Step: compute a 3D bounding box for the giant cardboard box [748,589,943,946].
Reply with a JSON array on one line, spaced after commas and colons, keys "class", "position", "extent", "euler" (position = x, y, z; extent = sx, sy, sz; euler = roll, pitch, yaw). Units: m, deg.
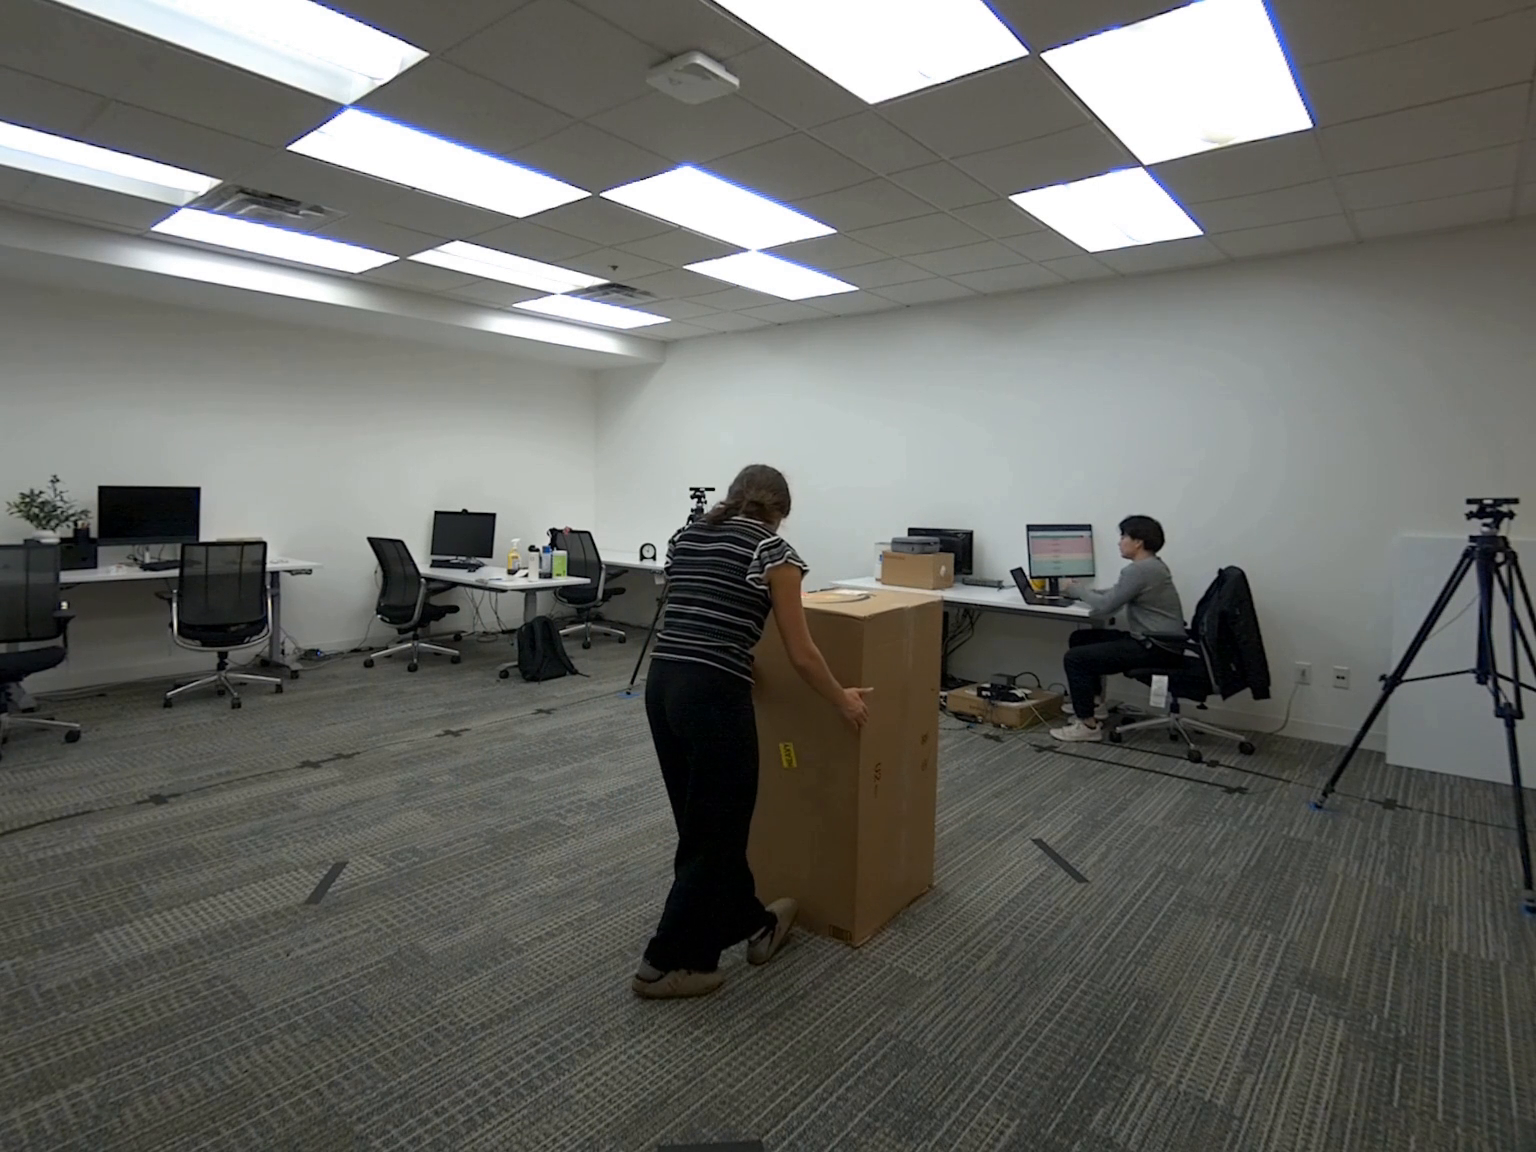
[{"class": "giant cardboard box", "position": [0.261, 0.585, 2.905], "extent": [0.440, 1.022, 0.561], "euler": [4, 5, 36]}]
